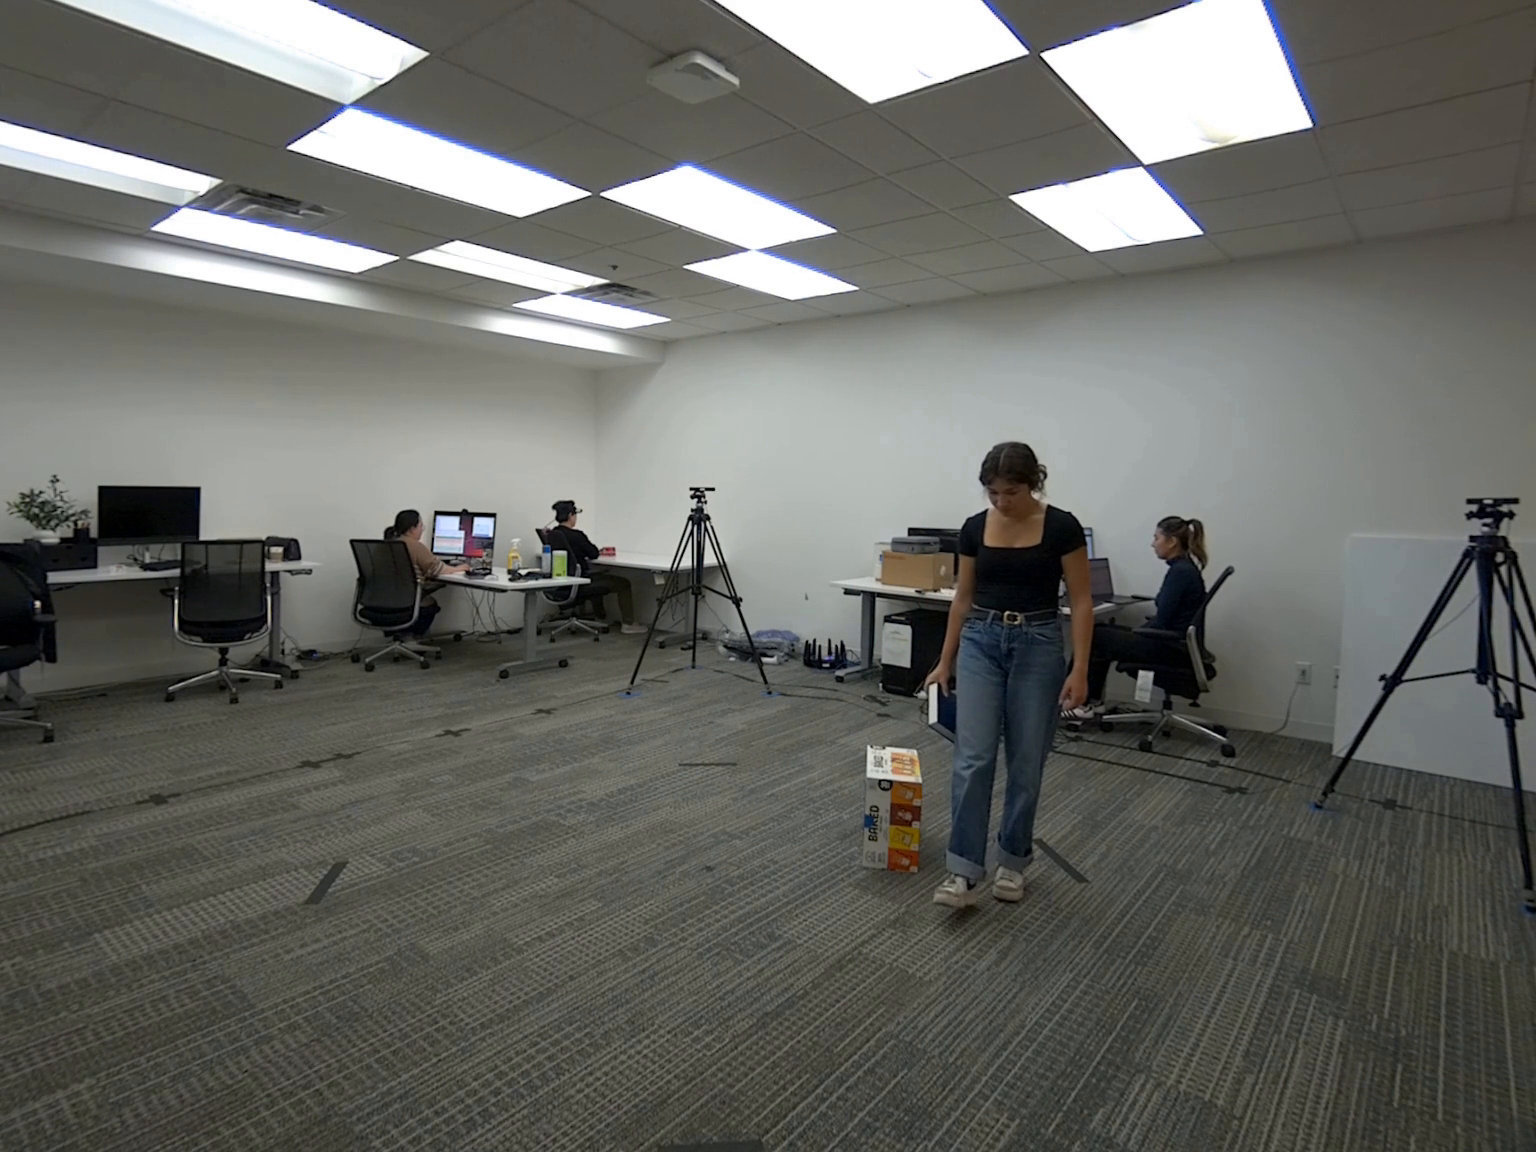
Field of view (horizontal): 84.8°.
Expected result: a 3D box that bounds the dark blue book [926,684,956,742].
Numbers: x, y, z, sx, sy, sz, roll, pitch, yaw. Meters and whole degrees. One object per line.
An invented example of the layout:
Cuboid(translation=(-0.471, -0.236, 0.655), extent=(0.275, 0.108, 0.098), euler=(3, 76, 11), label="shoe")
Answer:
Cuboid(translation=(0.656, 0.507, 3.045), extent=(0.237, 0.167, 0.046), euler=(35, -45, -27), label="dark blue book")
